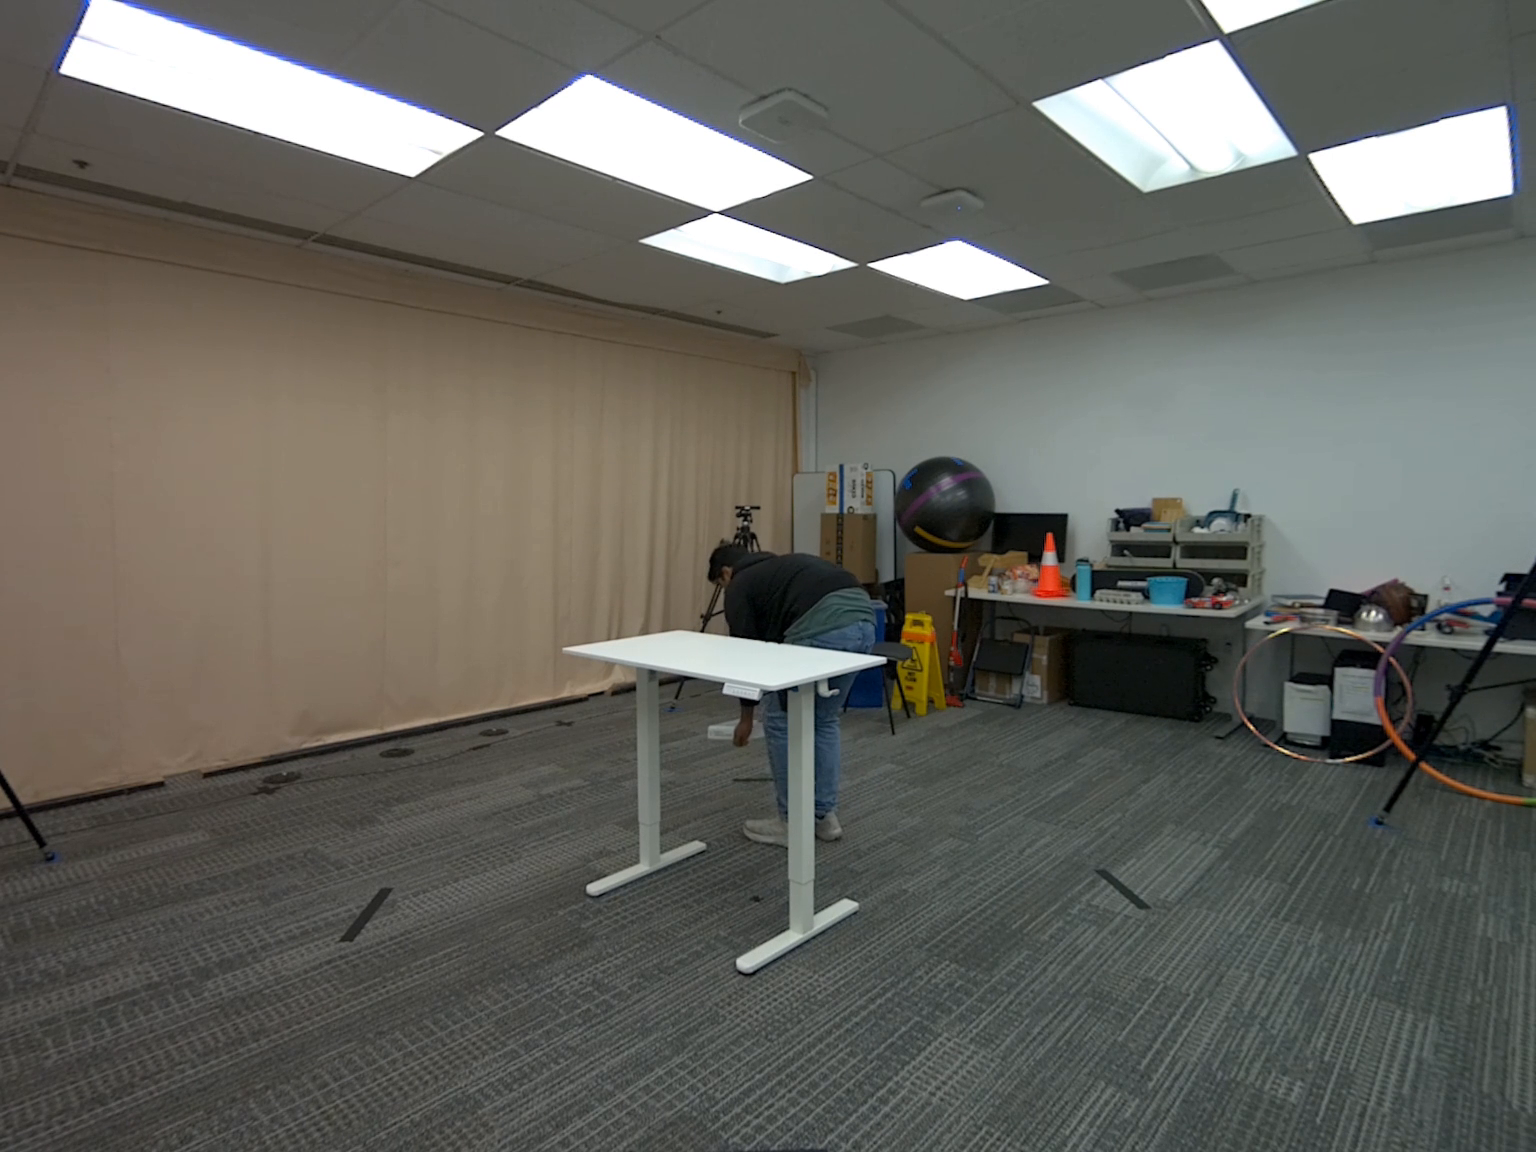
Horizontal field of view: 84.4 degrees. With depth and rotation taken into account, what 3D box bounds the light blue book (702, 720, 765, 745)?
[{"bbox_3d":[-0.144,0.706,3.848,0.186,0.059,0.268,-5,-2,-37],"label":"light blue book"}]
